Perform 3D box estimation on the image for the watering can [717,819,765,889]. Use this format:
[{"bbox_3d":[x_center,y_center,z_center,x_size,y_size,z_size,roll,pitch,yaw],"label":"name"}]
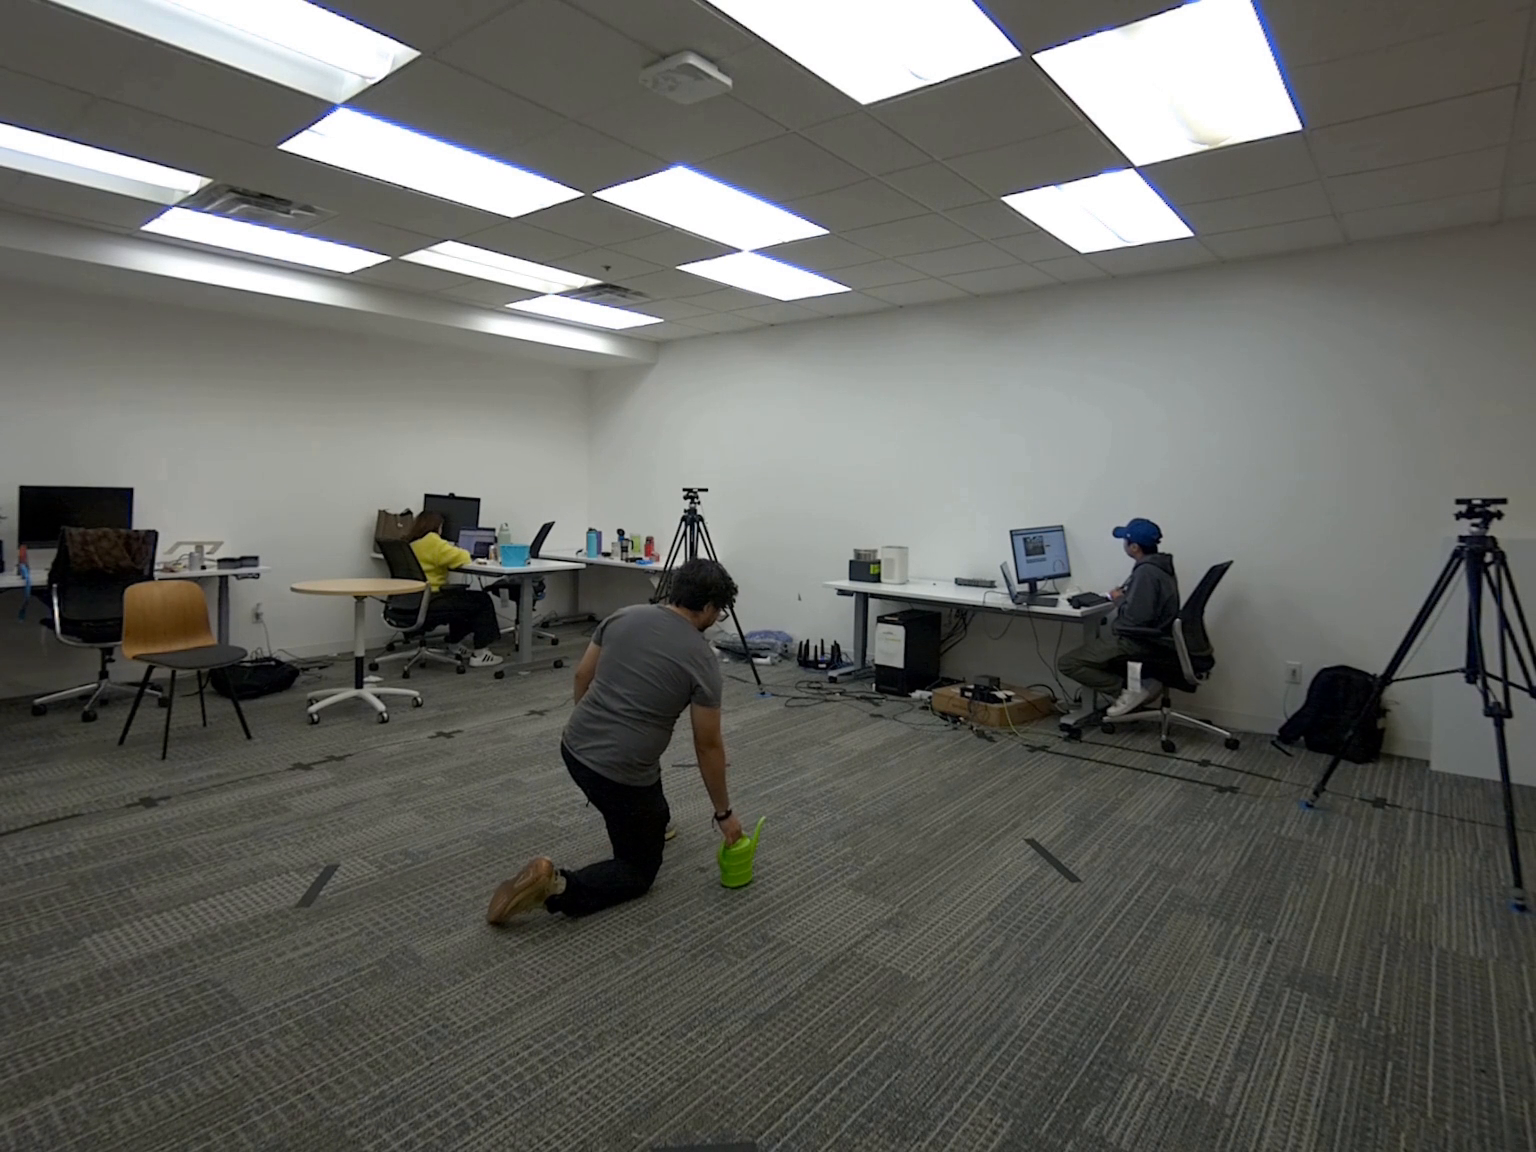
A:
[{"bbox_3d":[-0.091,0.992,3.037,0.270,0.176,0.101,-6,3,-37],"label":"watering can"}]
